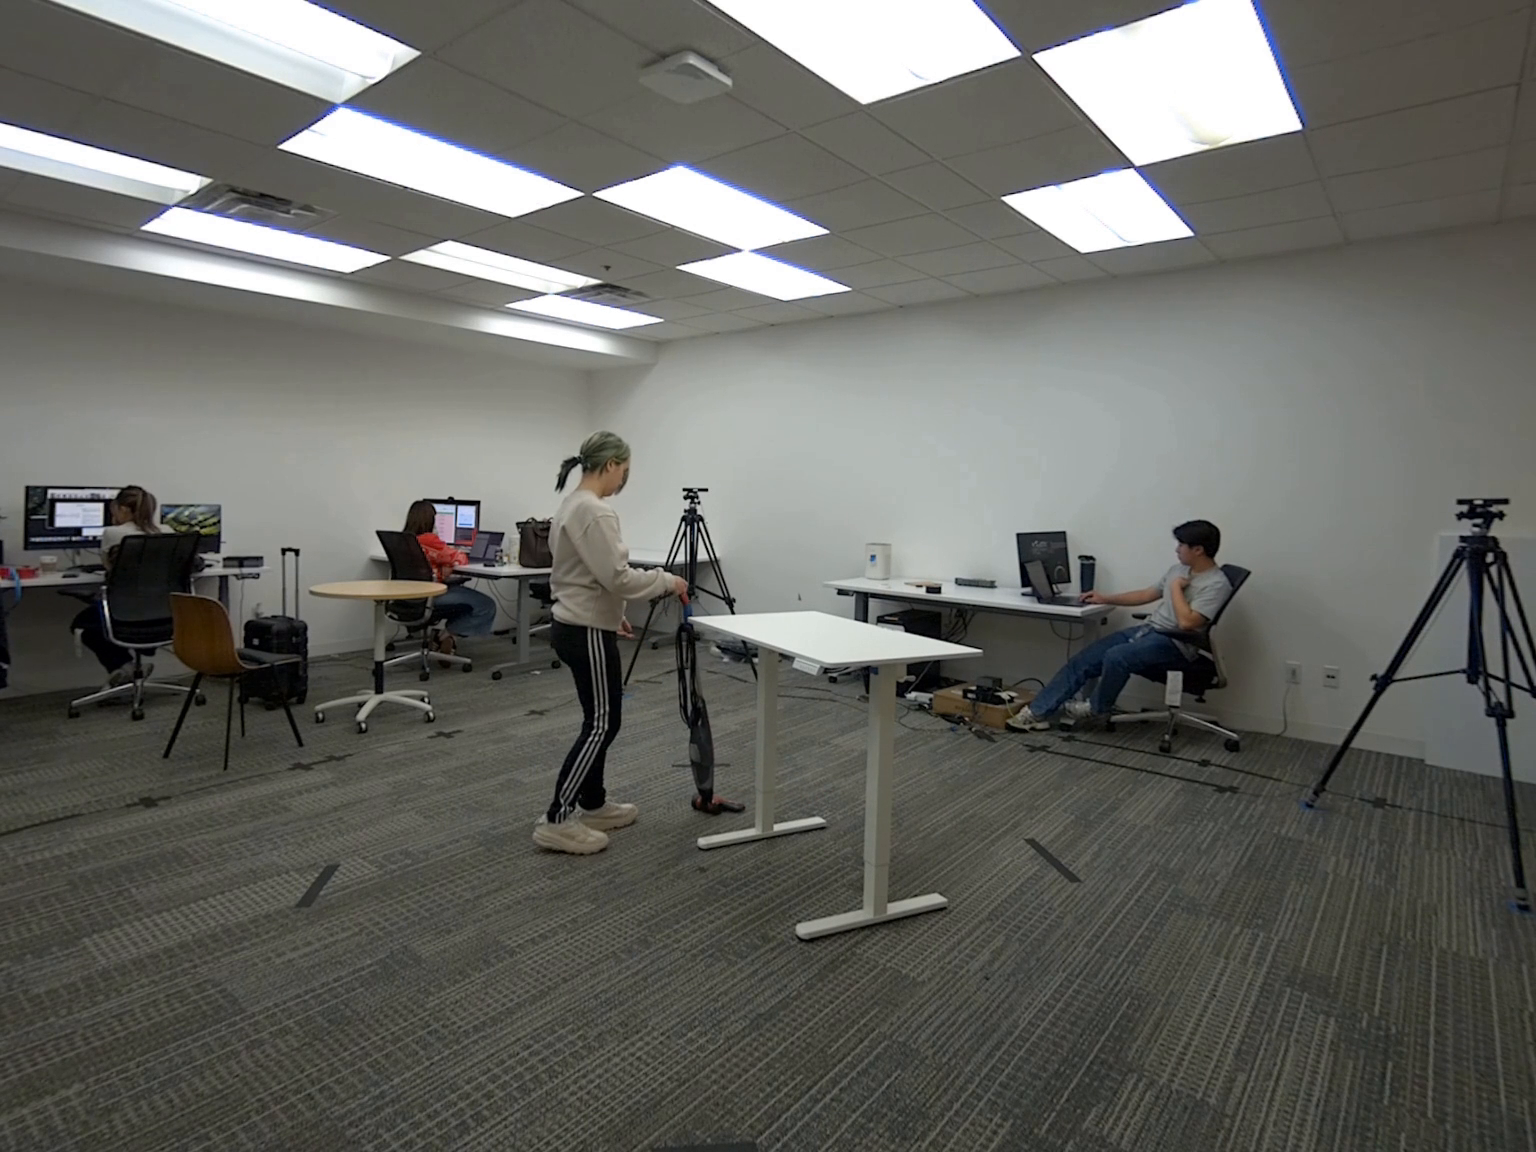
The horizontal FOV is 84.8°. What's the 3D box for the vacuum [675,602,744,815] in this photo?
[{"bbox_3d":[-0.322,0.533,3.551,0.261,1.028,0.142,6,23,37],"label":"vacuum"}]
